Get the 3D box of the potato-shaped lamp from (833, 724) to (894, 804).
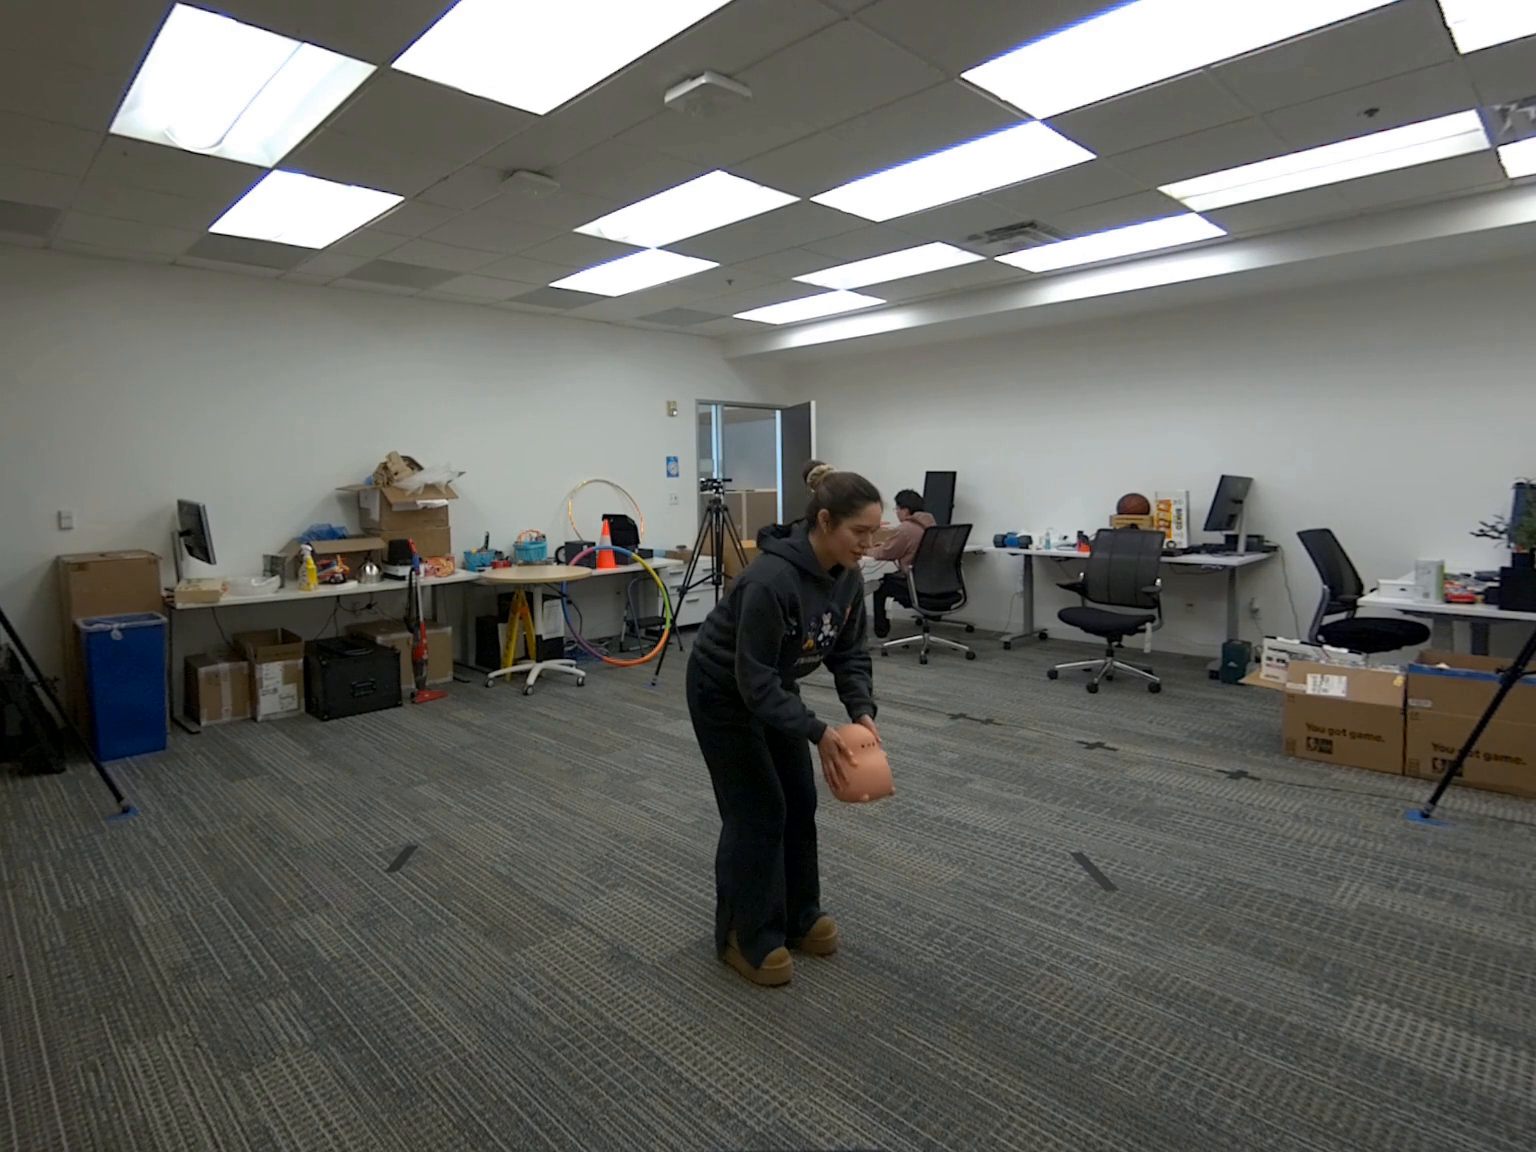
[{"bbox_3d":[0.236,0.494,2.246,0.160,0.199,0.174,-6,-7,-38],"label":"potato-shaped lamp"}]
